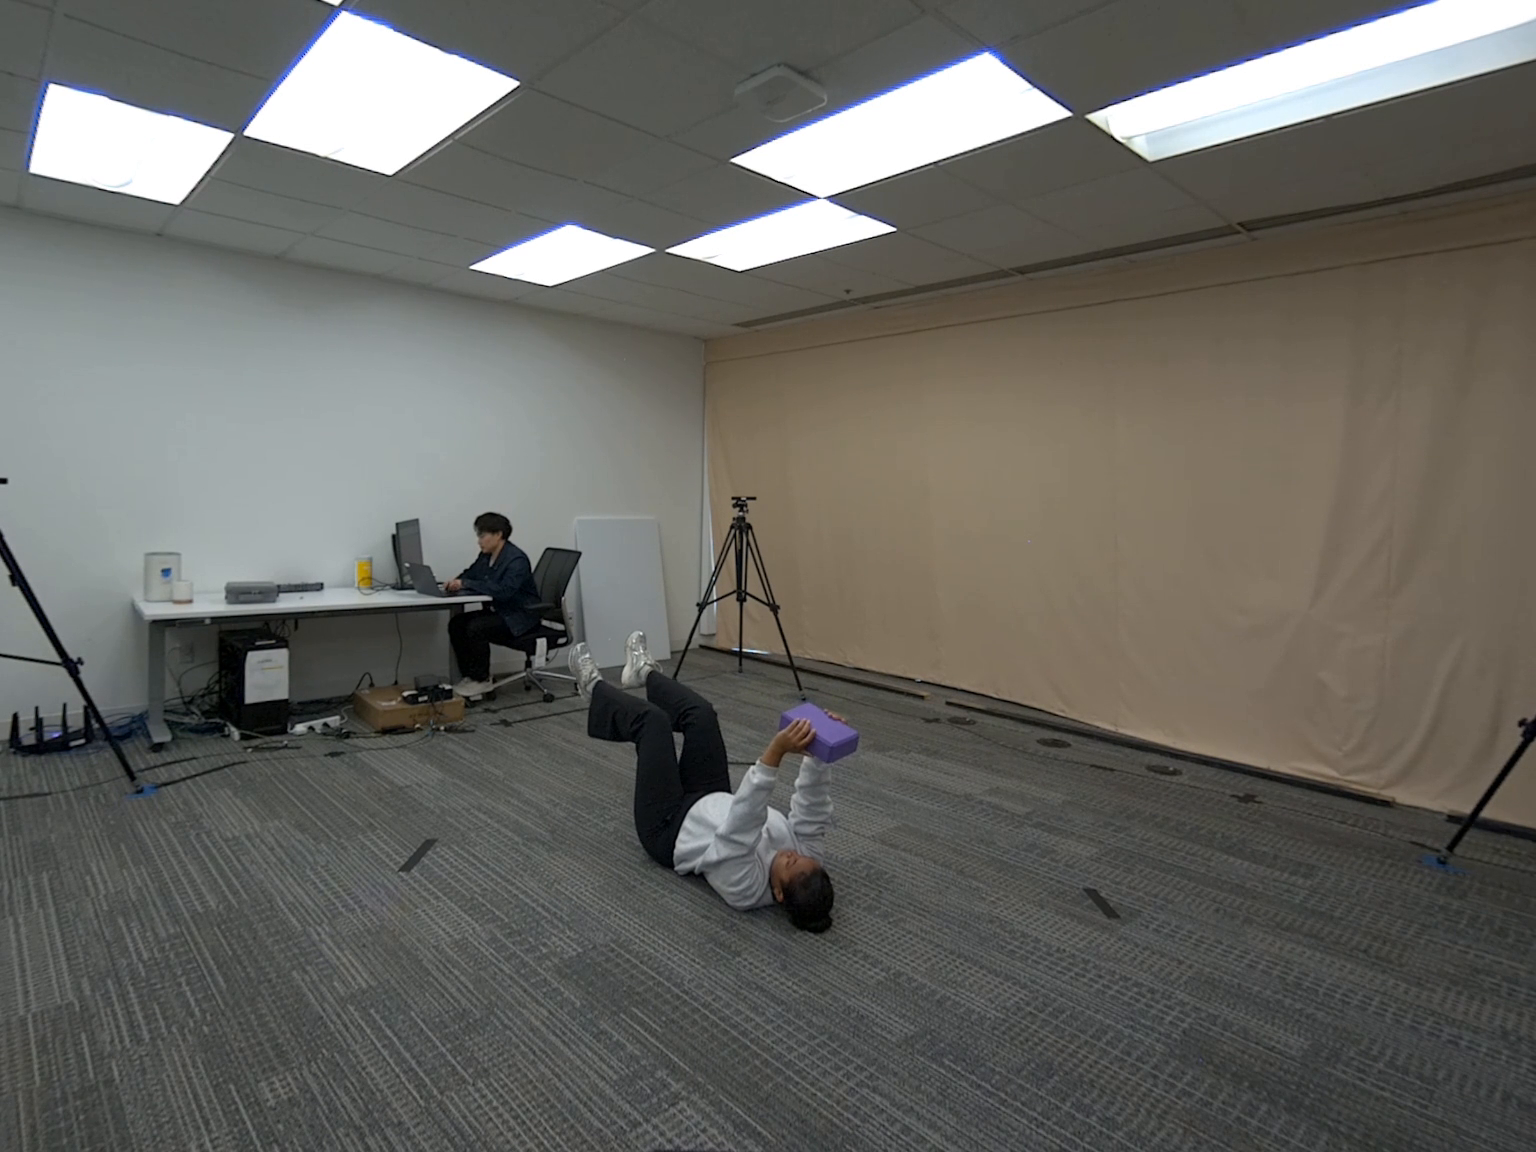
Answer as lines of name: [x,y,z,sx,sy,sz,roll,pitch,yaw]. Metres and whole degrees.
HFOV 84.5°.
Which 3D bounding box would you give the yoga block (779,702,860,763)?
yoga block: [0.163,0.514,2.747,0.236,0.075,0.146,24,25,37]
